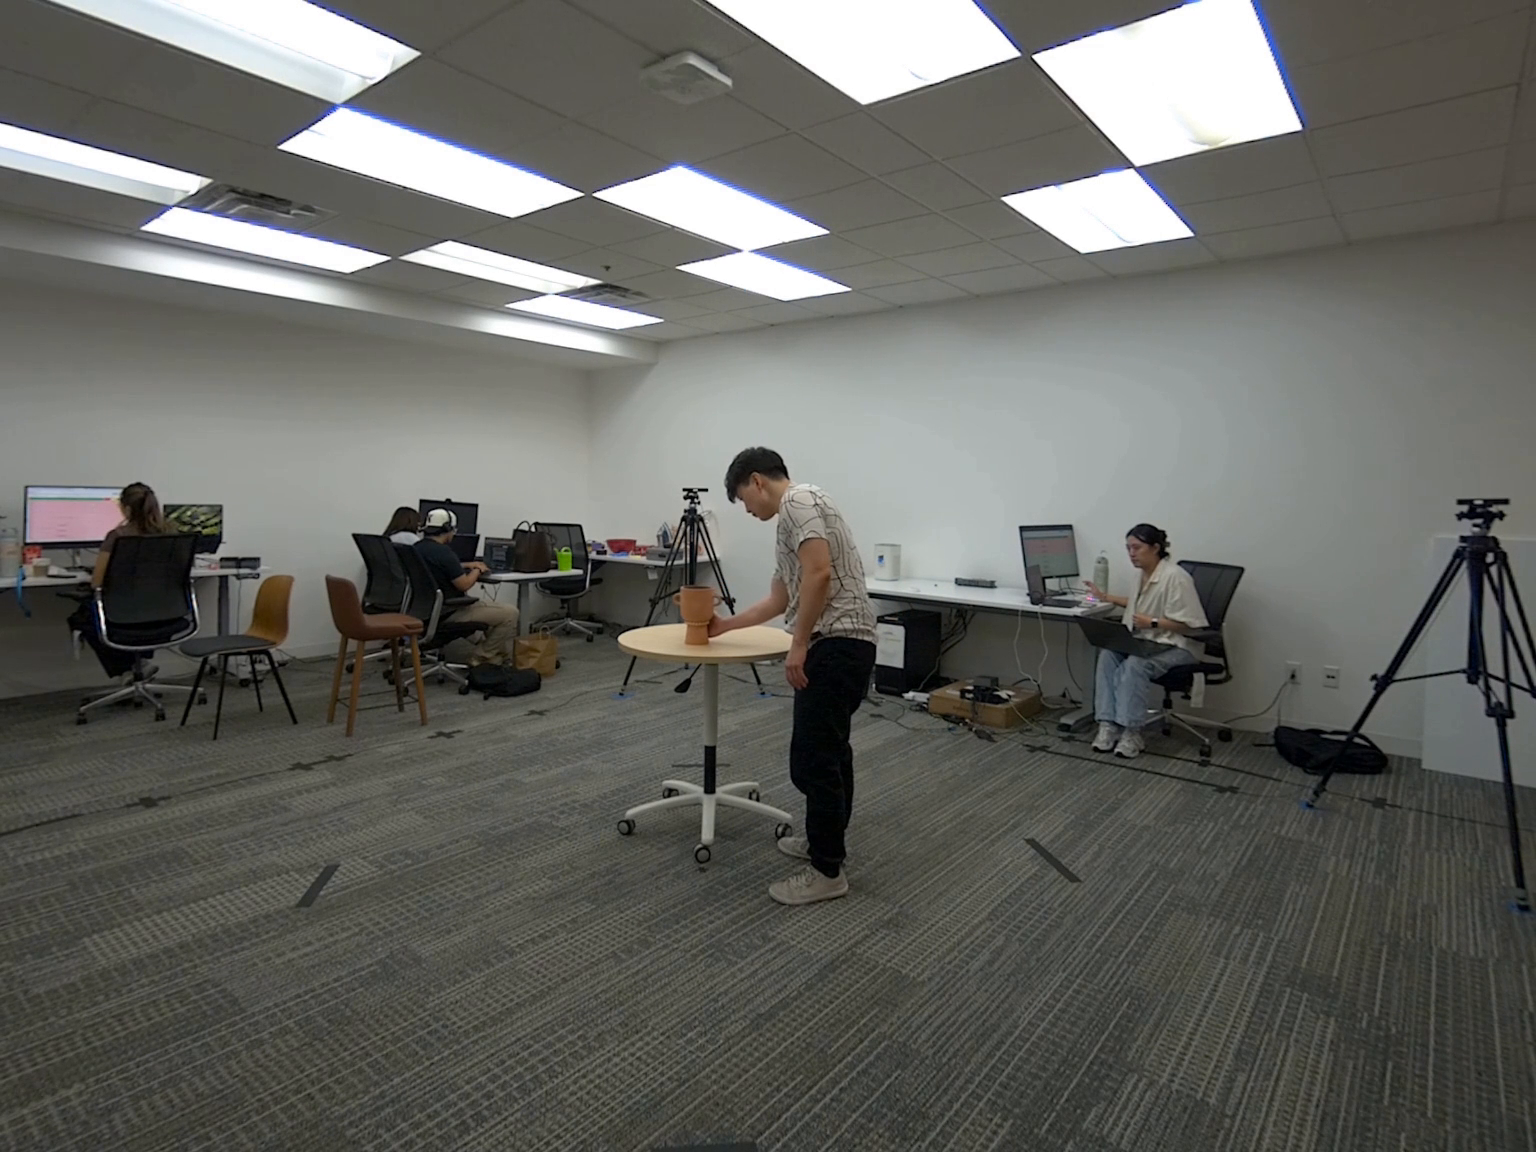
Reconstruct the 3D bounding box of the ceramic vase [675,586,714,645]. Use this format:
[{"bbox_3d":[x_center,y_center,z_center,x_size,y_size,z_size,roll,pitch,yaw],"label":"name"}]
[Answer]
[{"bbox_3d":[-0.294,0.155,3.368,0.131,0.219,0.164,-3,4,-38],"label":"ceramic vase"}]
